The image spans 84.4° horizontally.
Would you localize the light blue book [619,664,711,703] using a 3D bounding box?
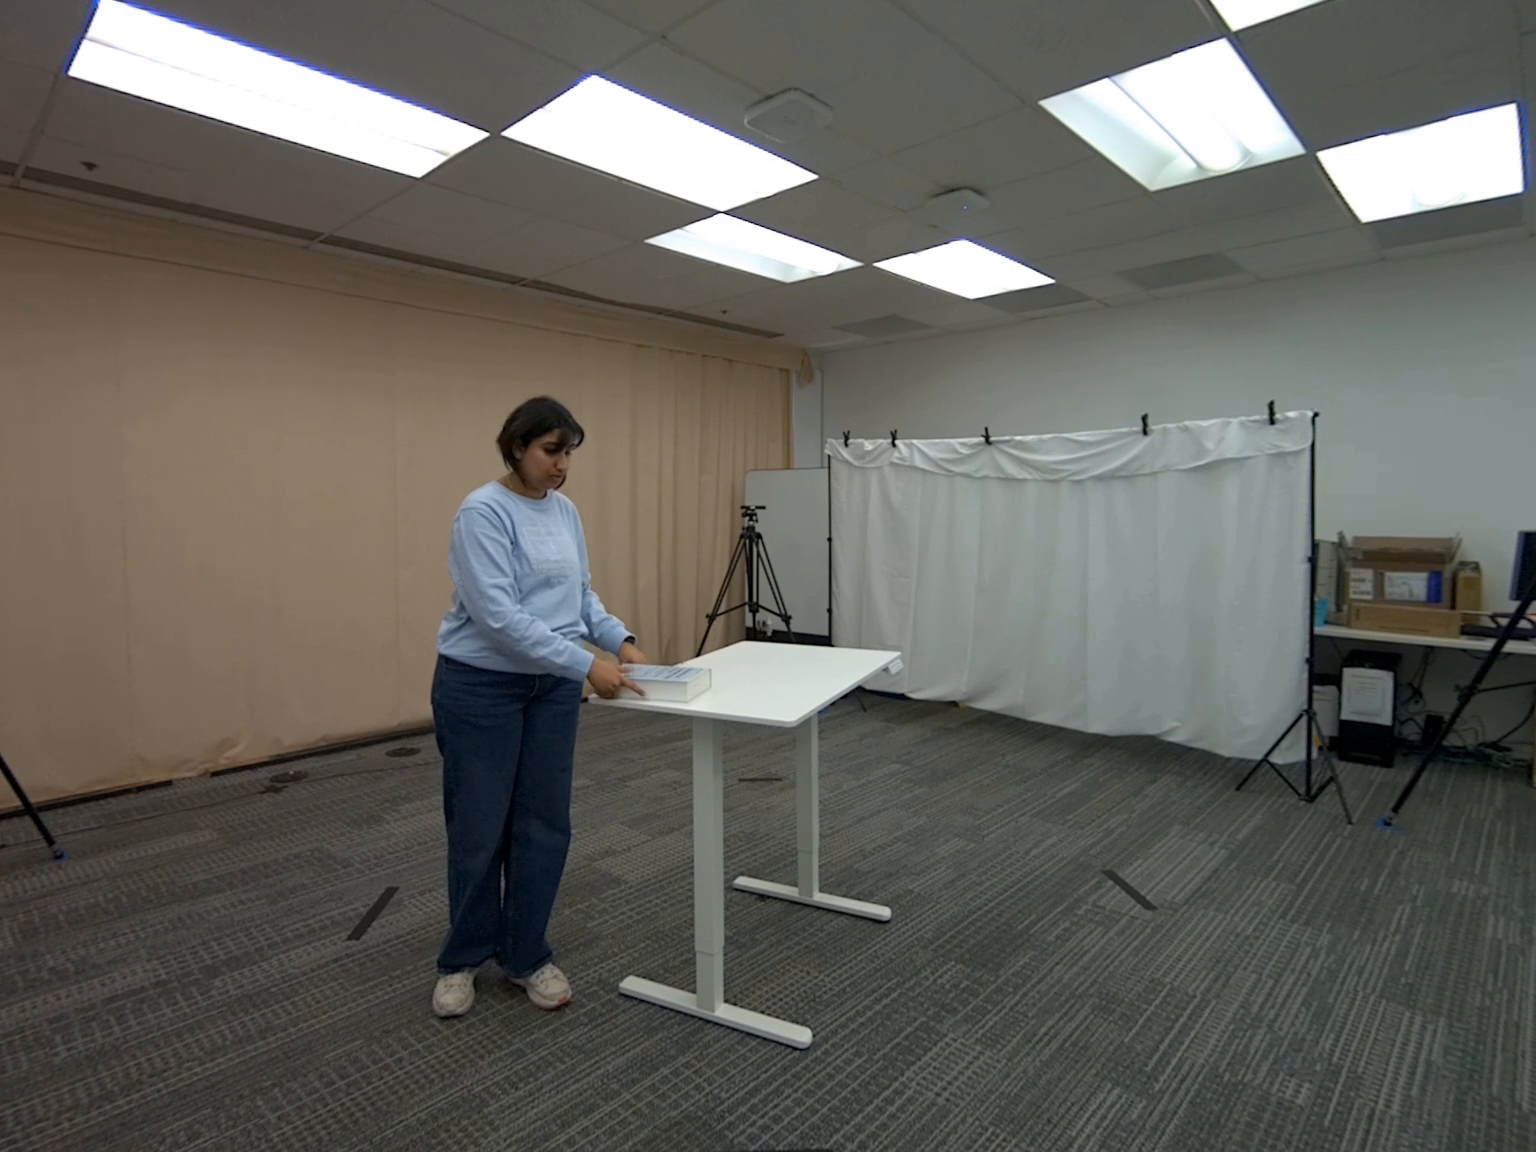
[{"bbox_3d":[-0.311,0.296,2.297,0.266,0.059,0.188,1,4,18],"label":"light blue book"}]
